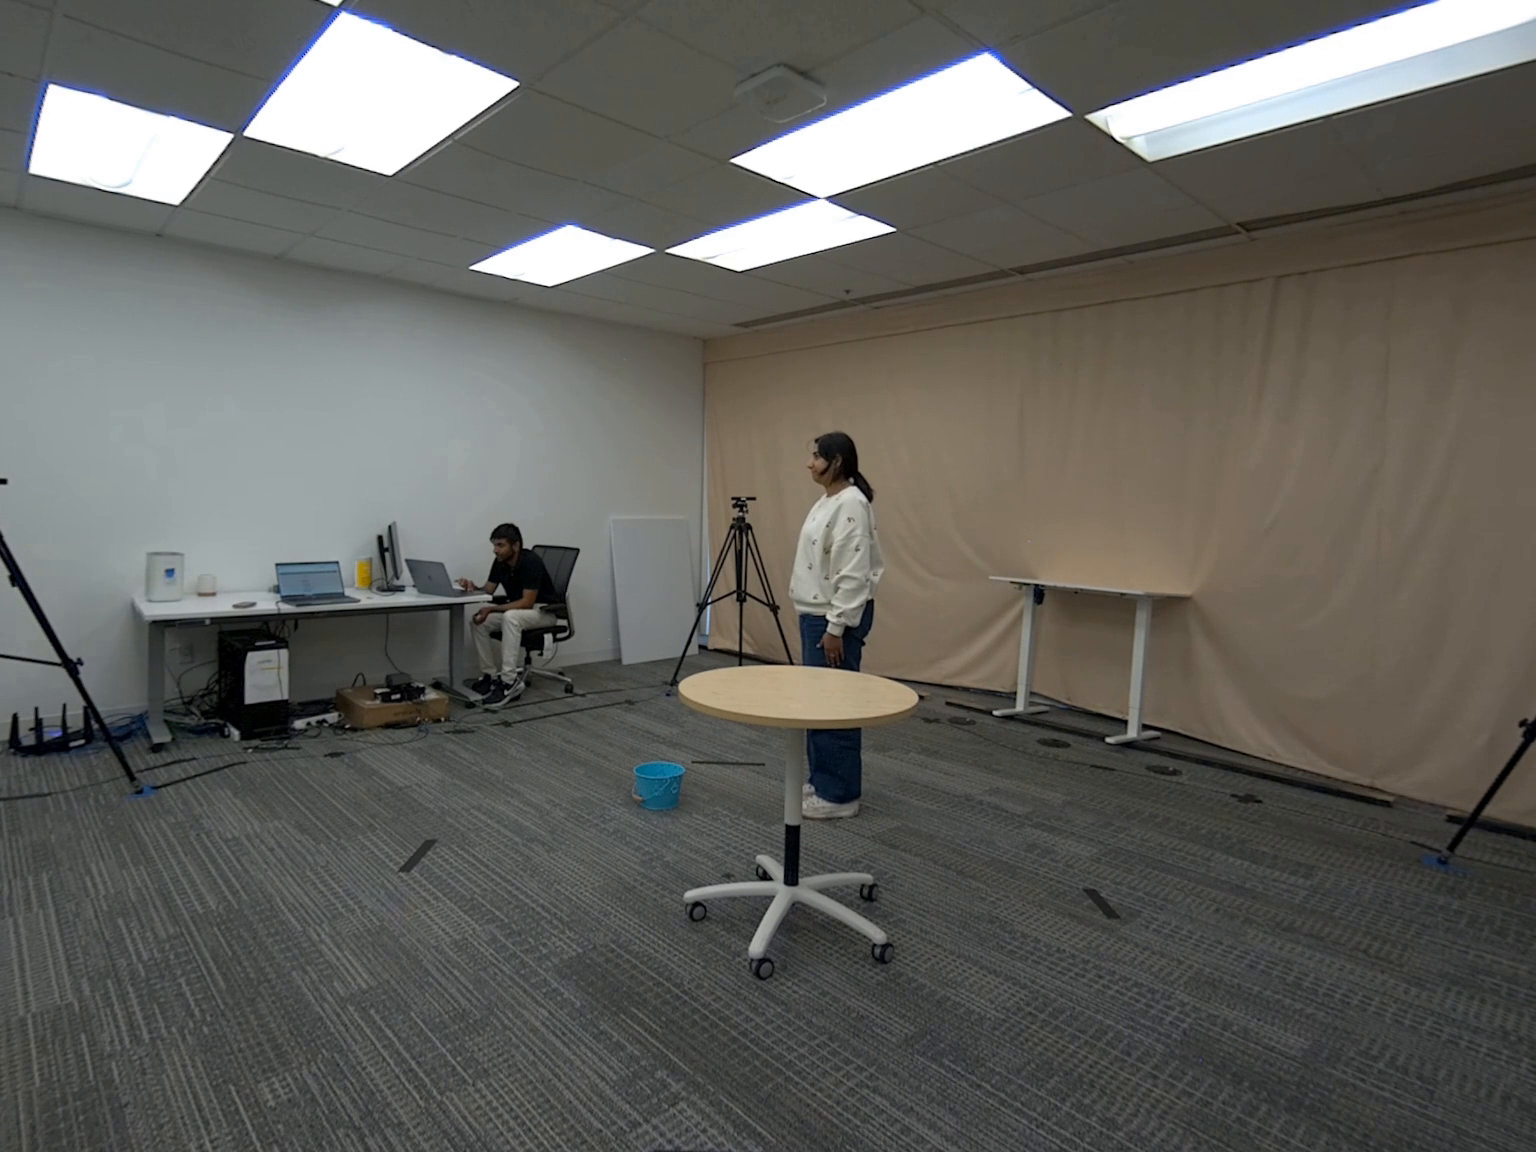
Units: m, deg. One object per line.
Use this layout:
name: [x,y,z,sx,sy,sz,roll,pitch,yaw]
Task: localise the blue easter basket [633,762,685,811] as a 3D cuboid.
blue easter basket: [-0.509,0.958,3.843,0.243,0.155,0.245,2,6,-2]
